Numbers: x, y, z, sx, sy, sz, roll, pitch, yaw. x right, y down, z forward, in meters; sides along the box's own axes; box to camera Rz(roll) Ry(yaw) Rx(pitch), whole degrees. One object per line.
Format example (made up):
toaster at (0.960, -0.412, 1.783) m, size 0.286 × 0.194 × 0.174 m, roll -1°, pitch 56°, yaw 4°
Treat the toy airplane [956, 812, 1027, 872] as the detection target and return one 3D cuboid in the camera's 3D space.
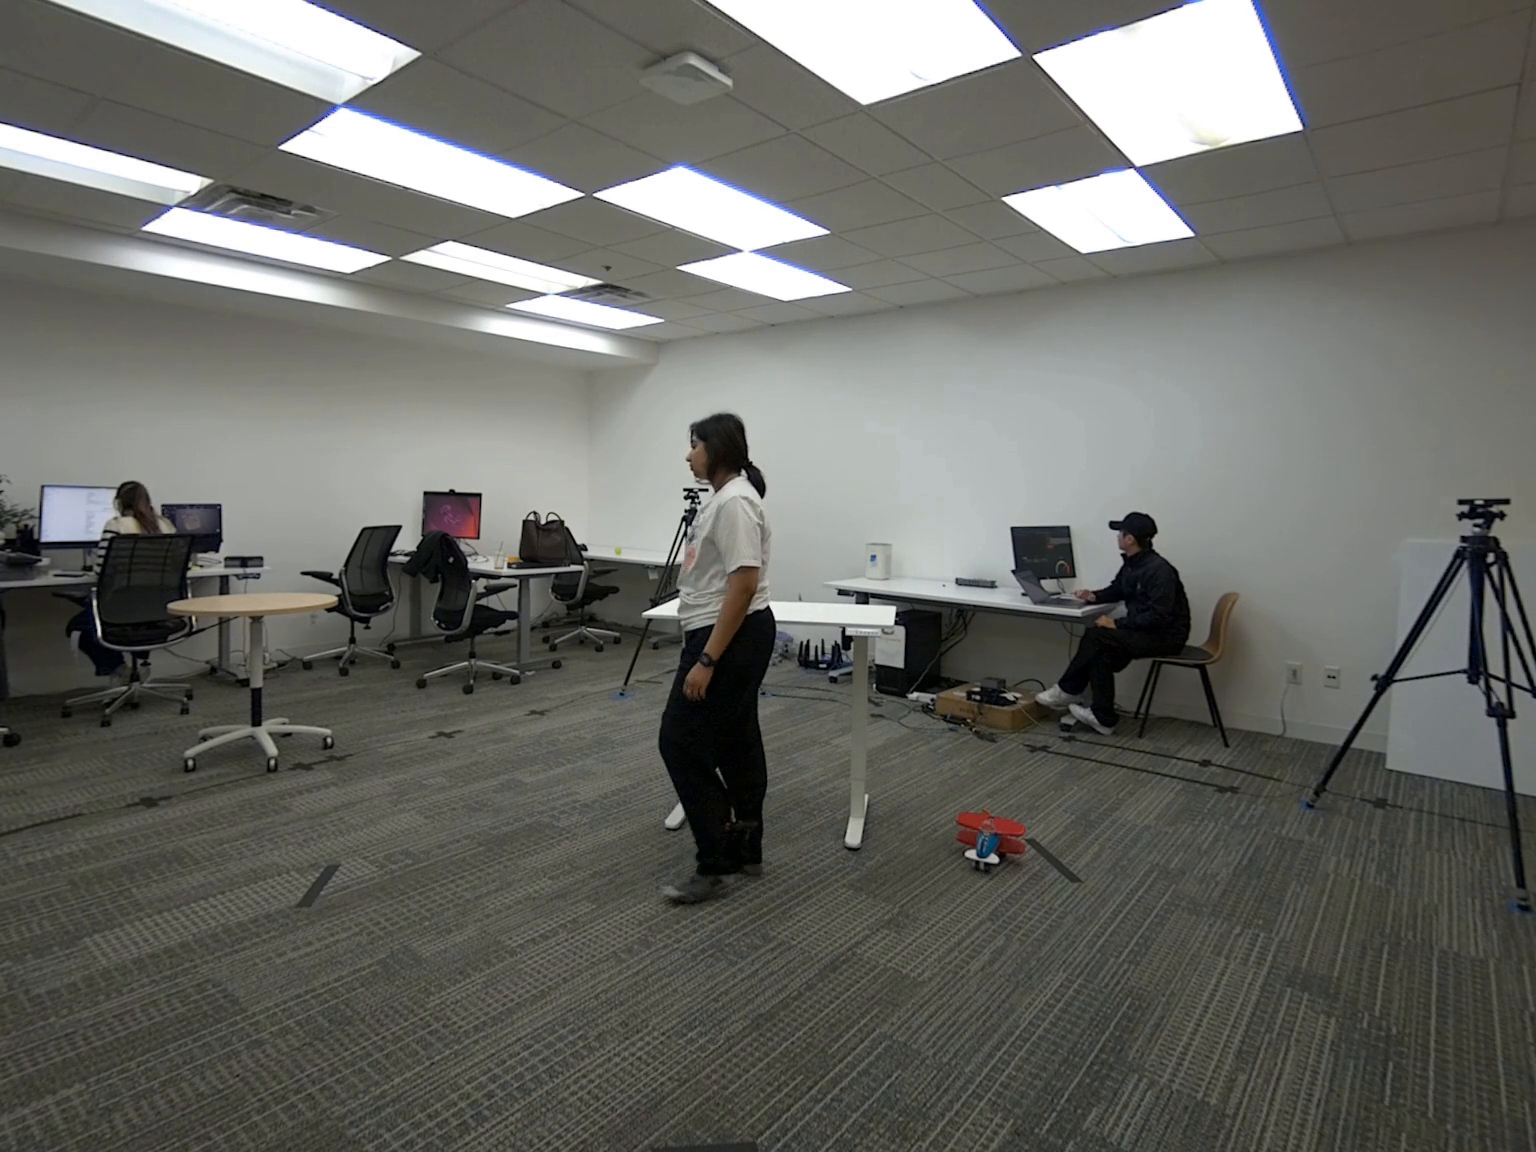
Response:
toy airplane at (0.850, 1.014, 3.229) m, size 0.251 × 0.156 × 0.260 m, roll 2°, pitch 4°, yaw 0°
